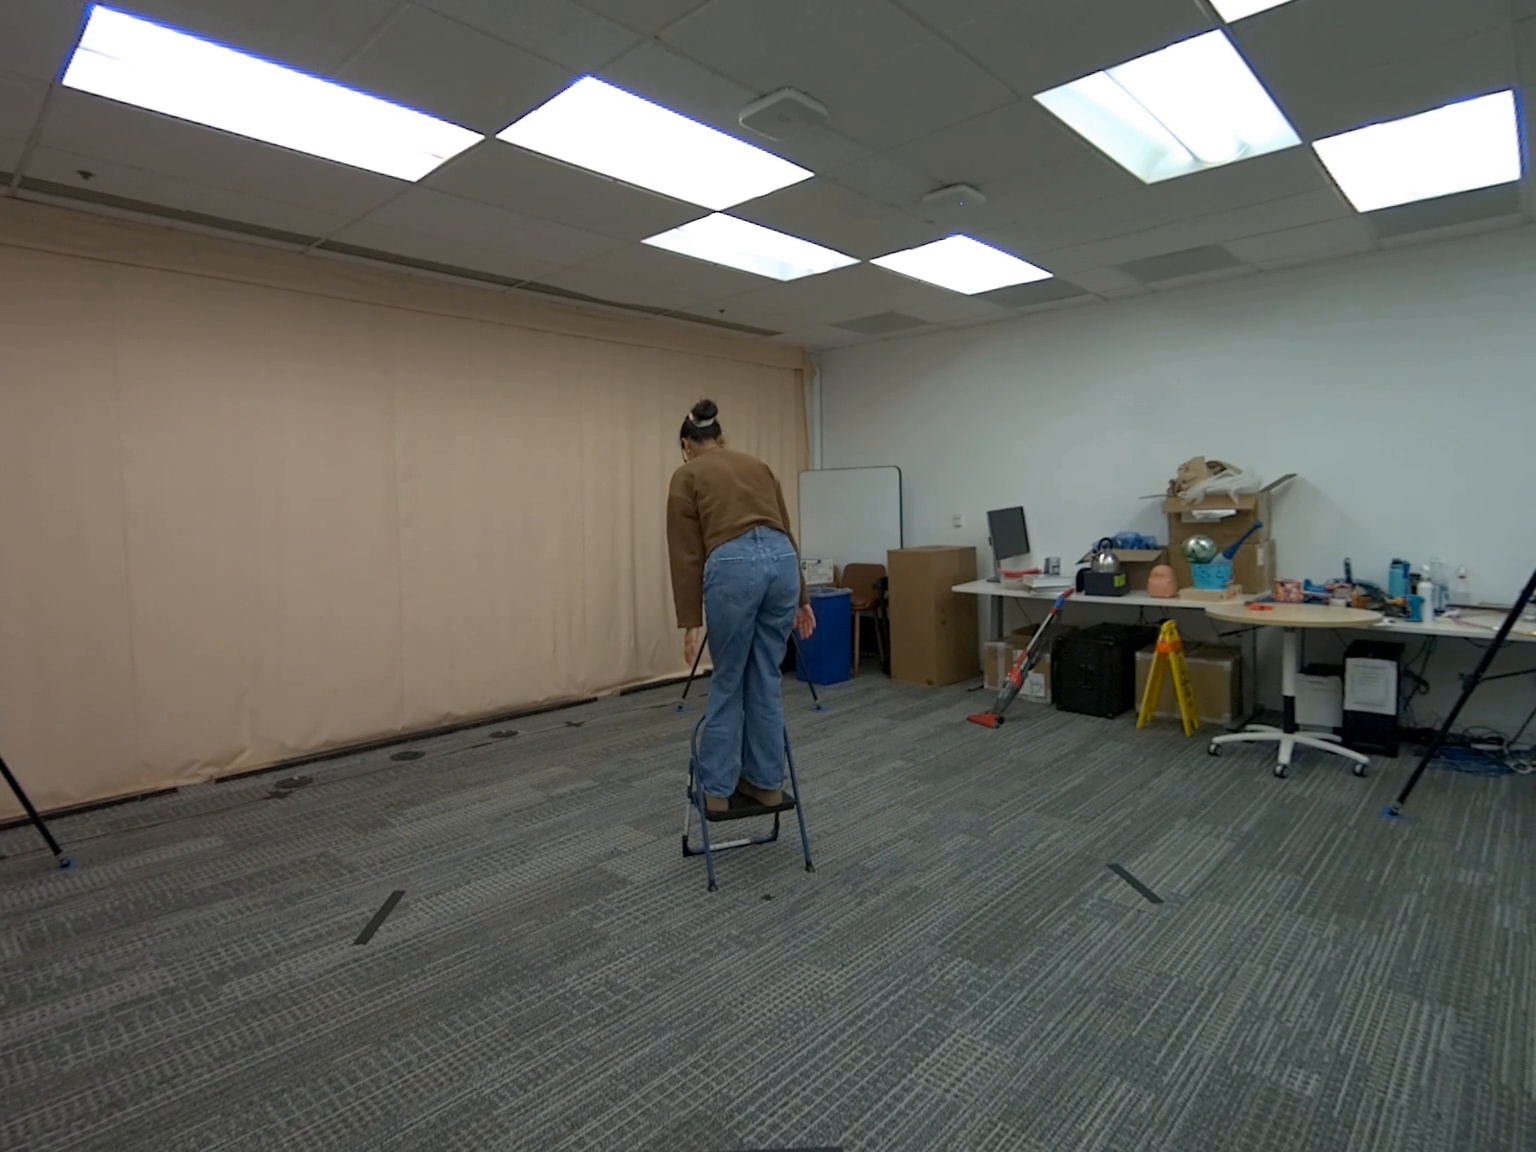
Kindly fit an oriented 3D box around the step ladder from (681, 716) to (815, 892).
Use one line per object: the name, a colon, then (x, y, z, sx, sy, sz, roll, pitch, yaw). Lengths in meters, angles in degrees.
step ladder: (-0.087, 0.818, 3.259, 0.421, 0.605, 0.358, -3, 4, -23)
